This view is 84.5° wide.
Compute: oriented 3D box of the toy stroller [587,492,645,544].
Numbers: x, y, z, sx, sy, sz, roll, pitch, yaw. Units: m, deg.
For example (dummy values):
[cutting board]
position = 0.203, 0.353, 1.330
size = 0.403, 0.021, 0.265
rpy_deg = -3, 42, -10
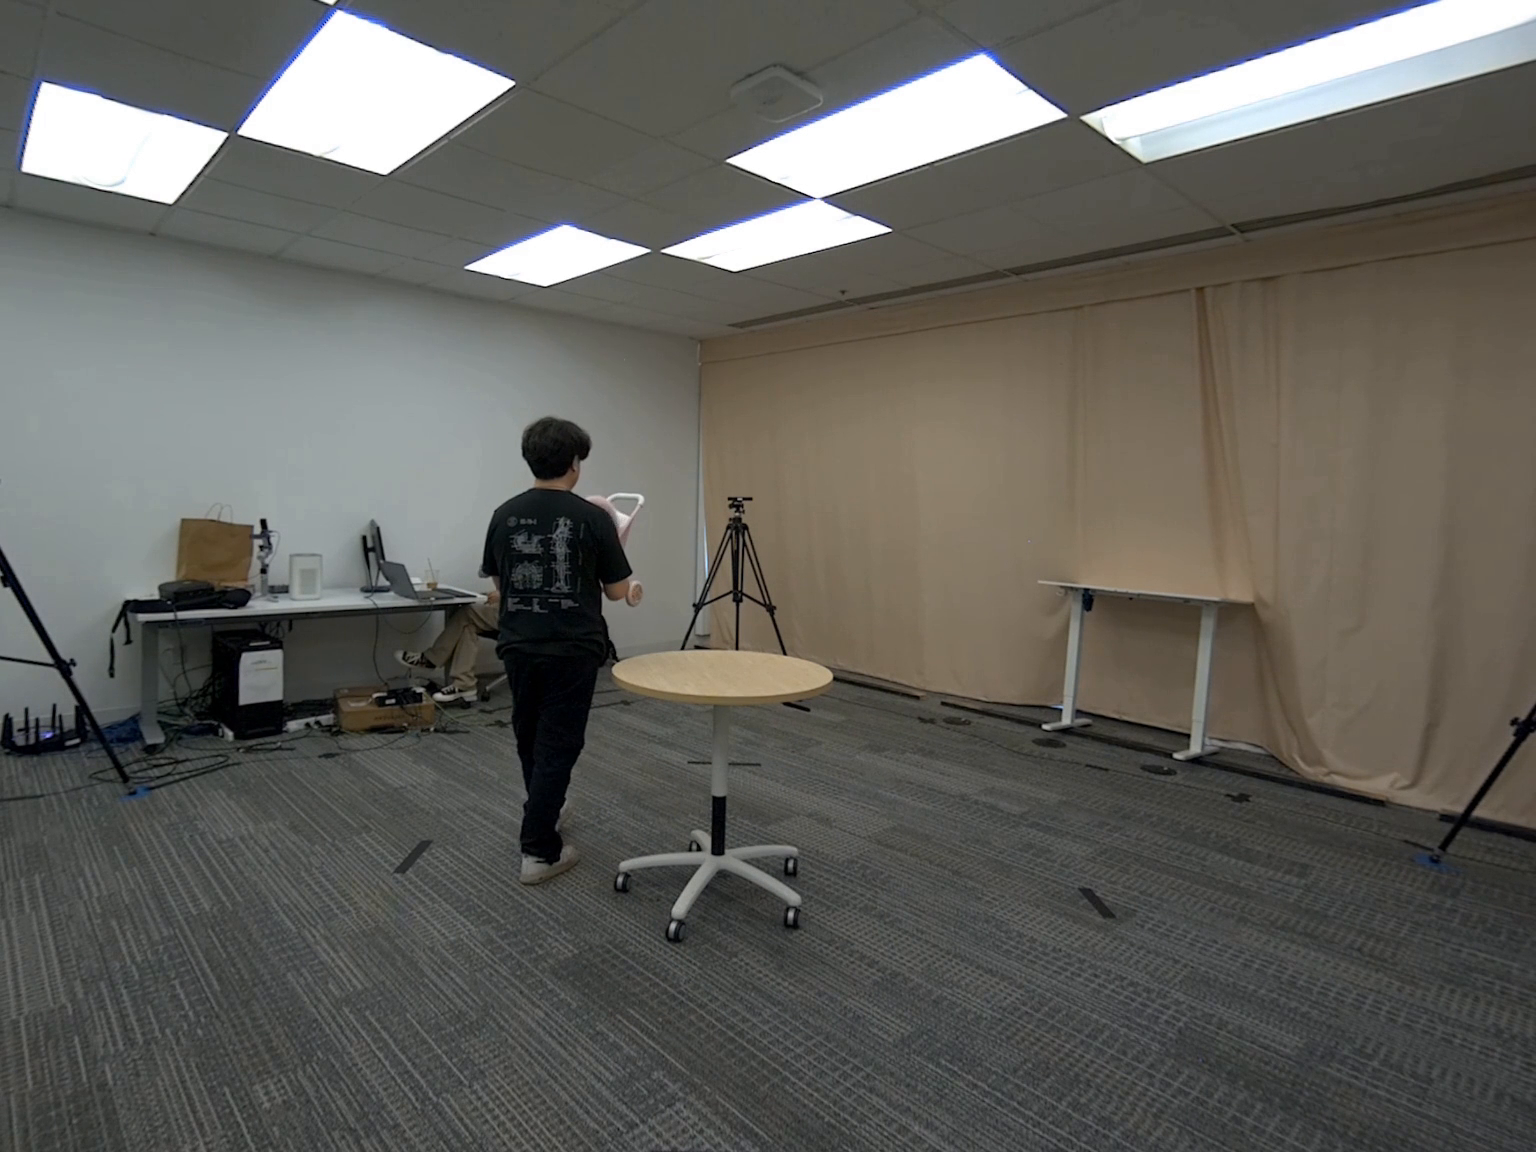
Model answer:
[toy stroller]
position = -0.713, -0.089, 3.471
size = 0.288, 0.535, 0.333
rpy_deg = 7, 1, 34
